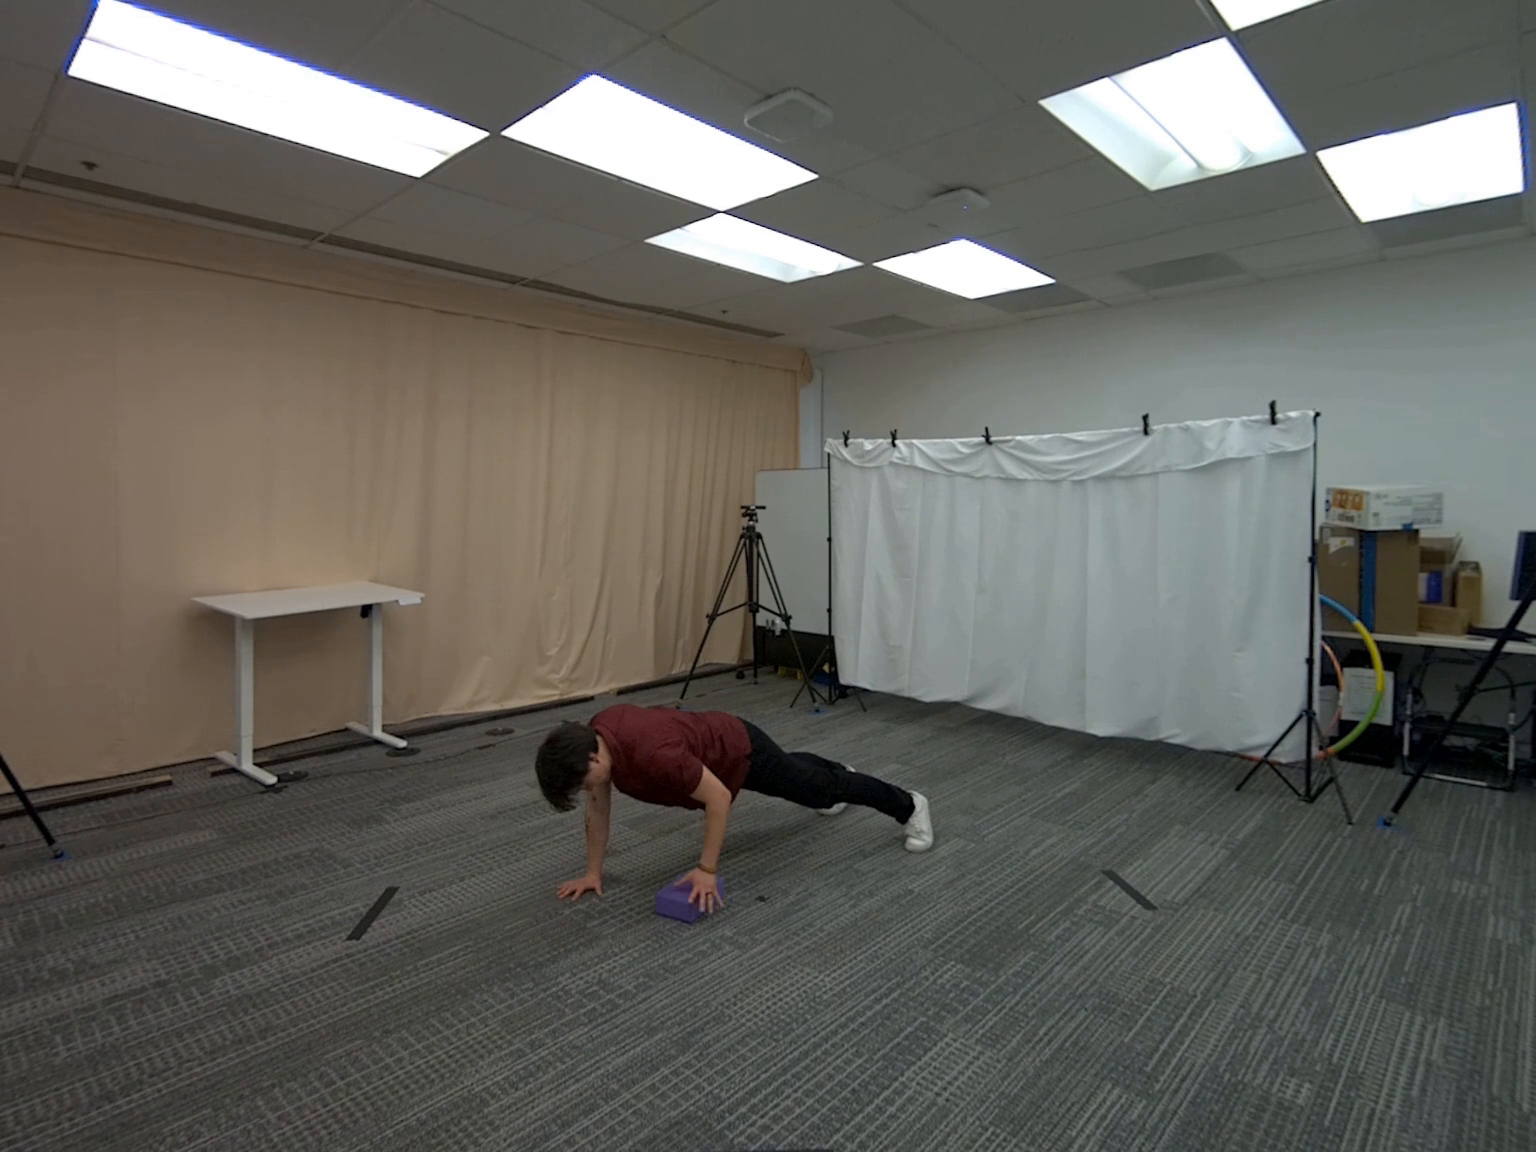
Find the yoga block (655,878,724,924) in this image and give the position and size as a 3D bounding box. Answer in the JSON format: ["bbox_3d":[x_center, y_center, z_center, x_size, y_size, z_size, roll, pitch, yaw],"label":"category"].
[{"bbox_3d":[-0.269,1.102,2.928,0.153,0.076,0.223,3,6,28],"label":"yoga block"}]
